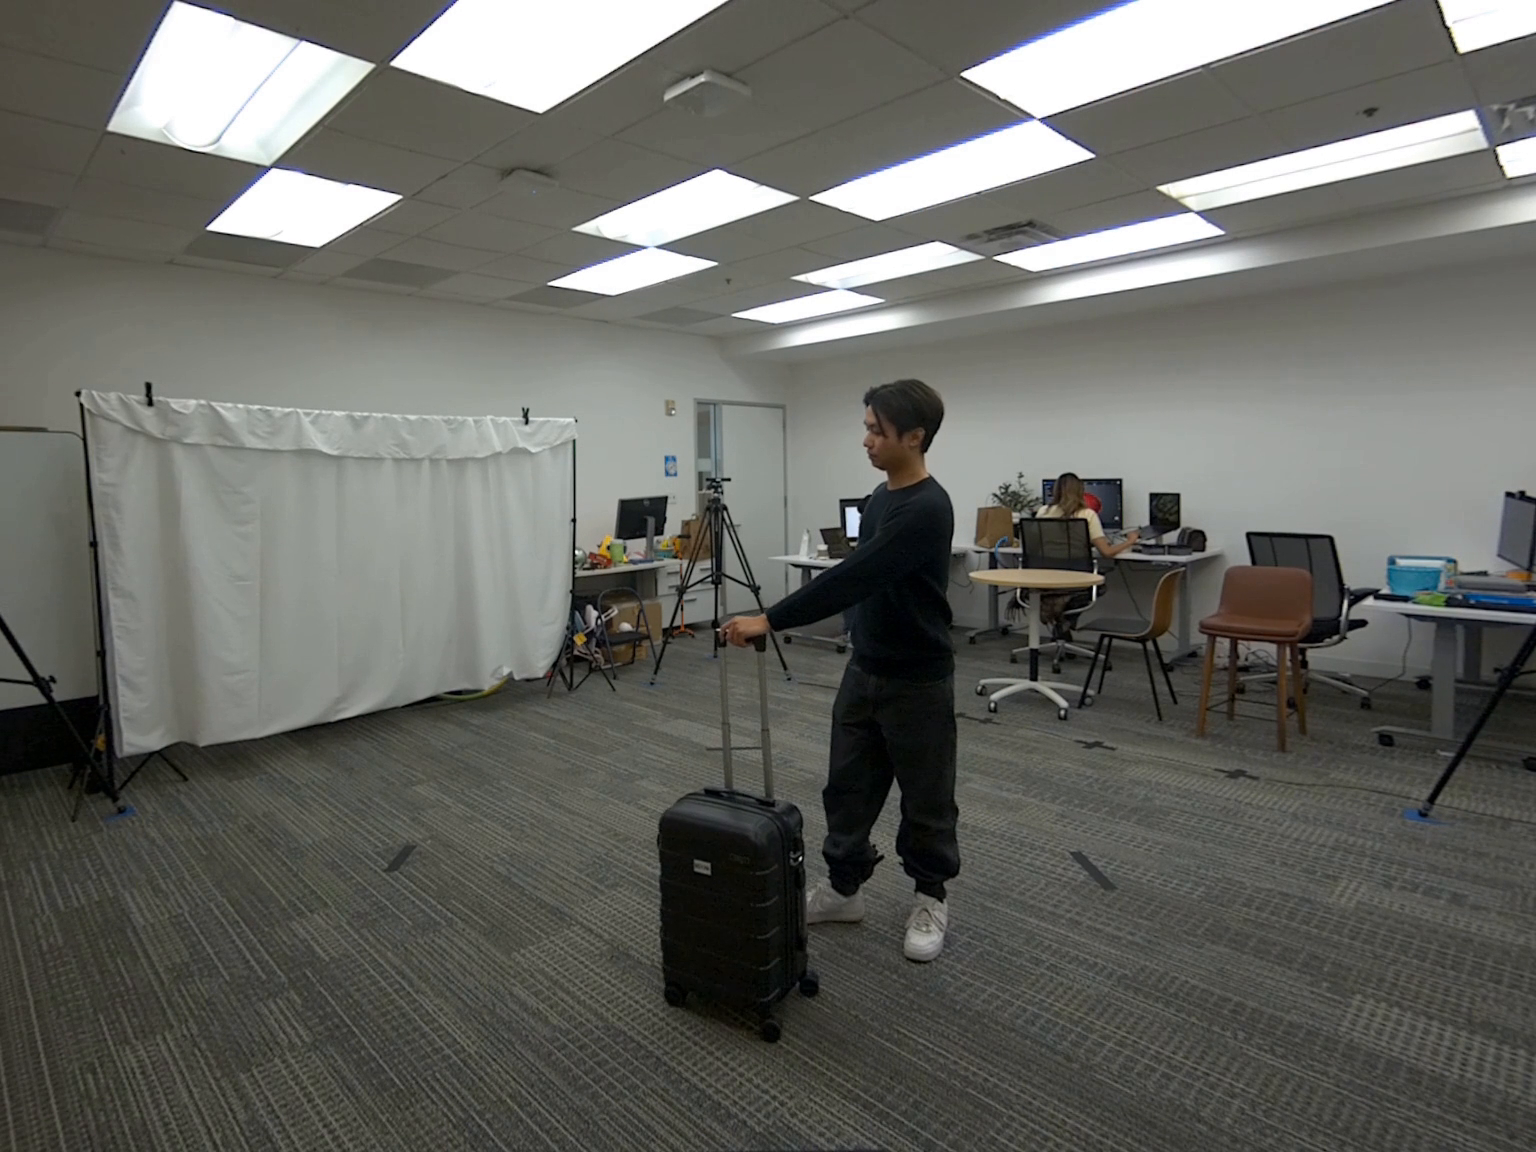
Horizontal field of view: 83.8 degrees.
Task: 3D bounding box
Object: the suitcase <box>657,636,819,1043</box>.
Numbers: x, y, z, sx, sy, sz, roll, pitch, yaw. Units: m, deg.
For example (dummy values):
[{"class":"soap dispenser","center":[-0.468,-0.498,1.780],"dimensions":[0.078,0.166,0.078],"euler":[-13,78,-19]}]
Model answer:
[{"class":"suitcase","center":[-0.097,0.665,2.272],"dimensions":[0.394,0.975,0.251],"euler":[-1,5,32]}]
